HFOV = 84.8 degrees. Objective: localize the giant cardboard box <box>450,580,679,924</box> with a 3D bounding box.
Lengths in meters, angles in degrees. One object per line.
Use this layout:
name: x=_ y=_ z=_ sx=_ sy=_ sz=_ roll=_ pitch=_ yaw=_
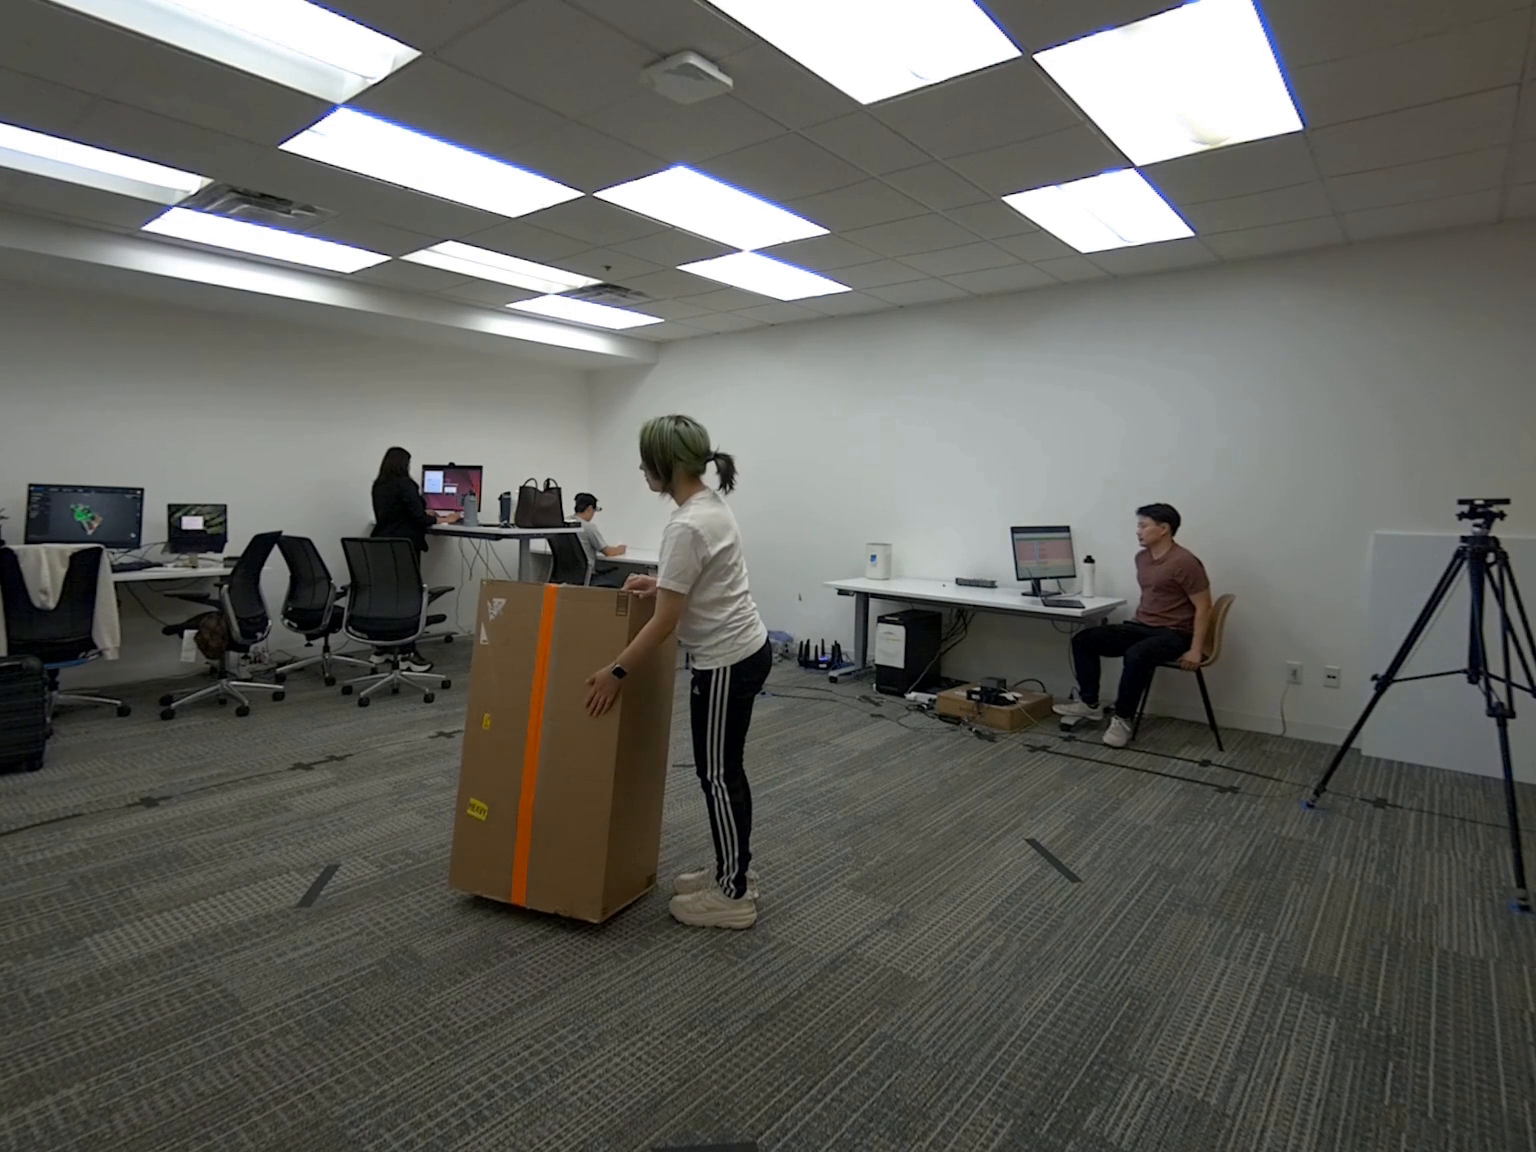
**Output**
giant cardboard box: x=-0.691 y=0.547 z=2.934 sx=0.591 sy=1.030 sz=0.415 roll=3 pitch=-5 yaw=21
